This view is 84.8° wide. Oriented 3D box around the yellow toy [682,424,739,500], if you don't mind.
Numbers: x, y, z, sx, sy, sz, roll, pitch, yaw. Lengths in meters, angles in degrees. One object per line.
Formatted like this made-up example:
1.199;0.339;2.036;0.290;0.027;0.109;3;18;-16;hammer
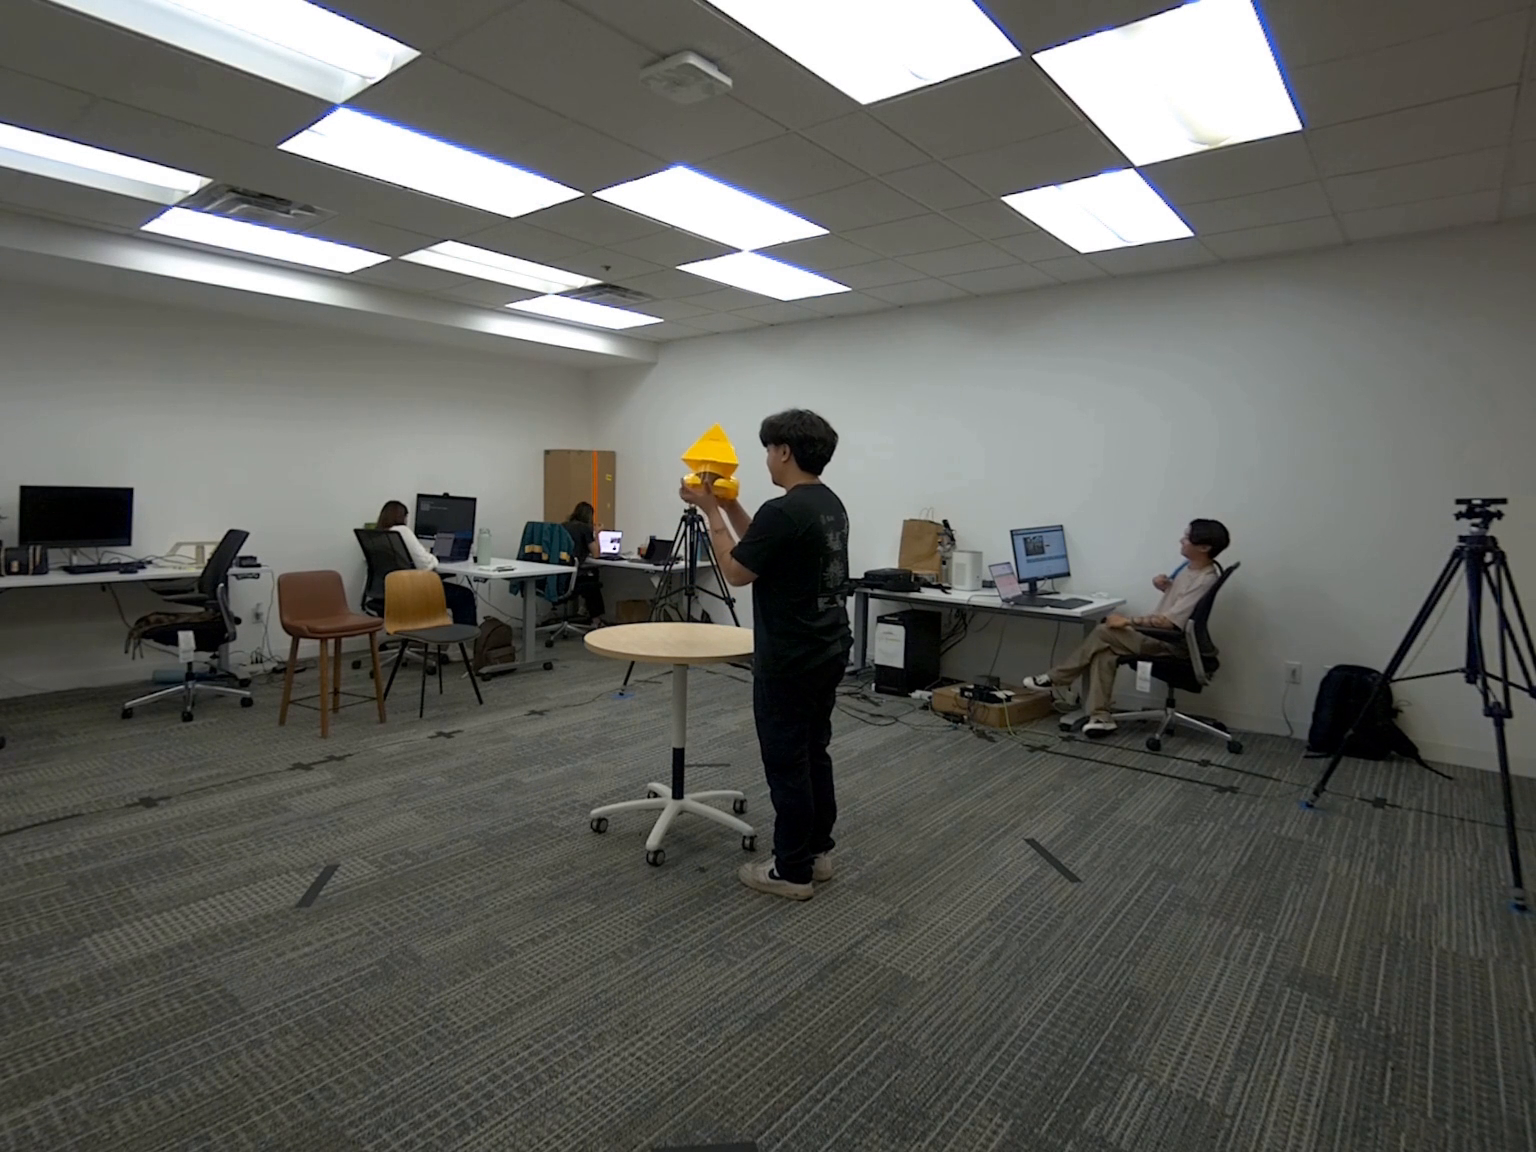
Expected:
-0.200;-0.415;3.027;0.207;0.233;0.189;7;-11;7;yellow toy
